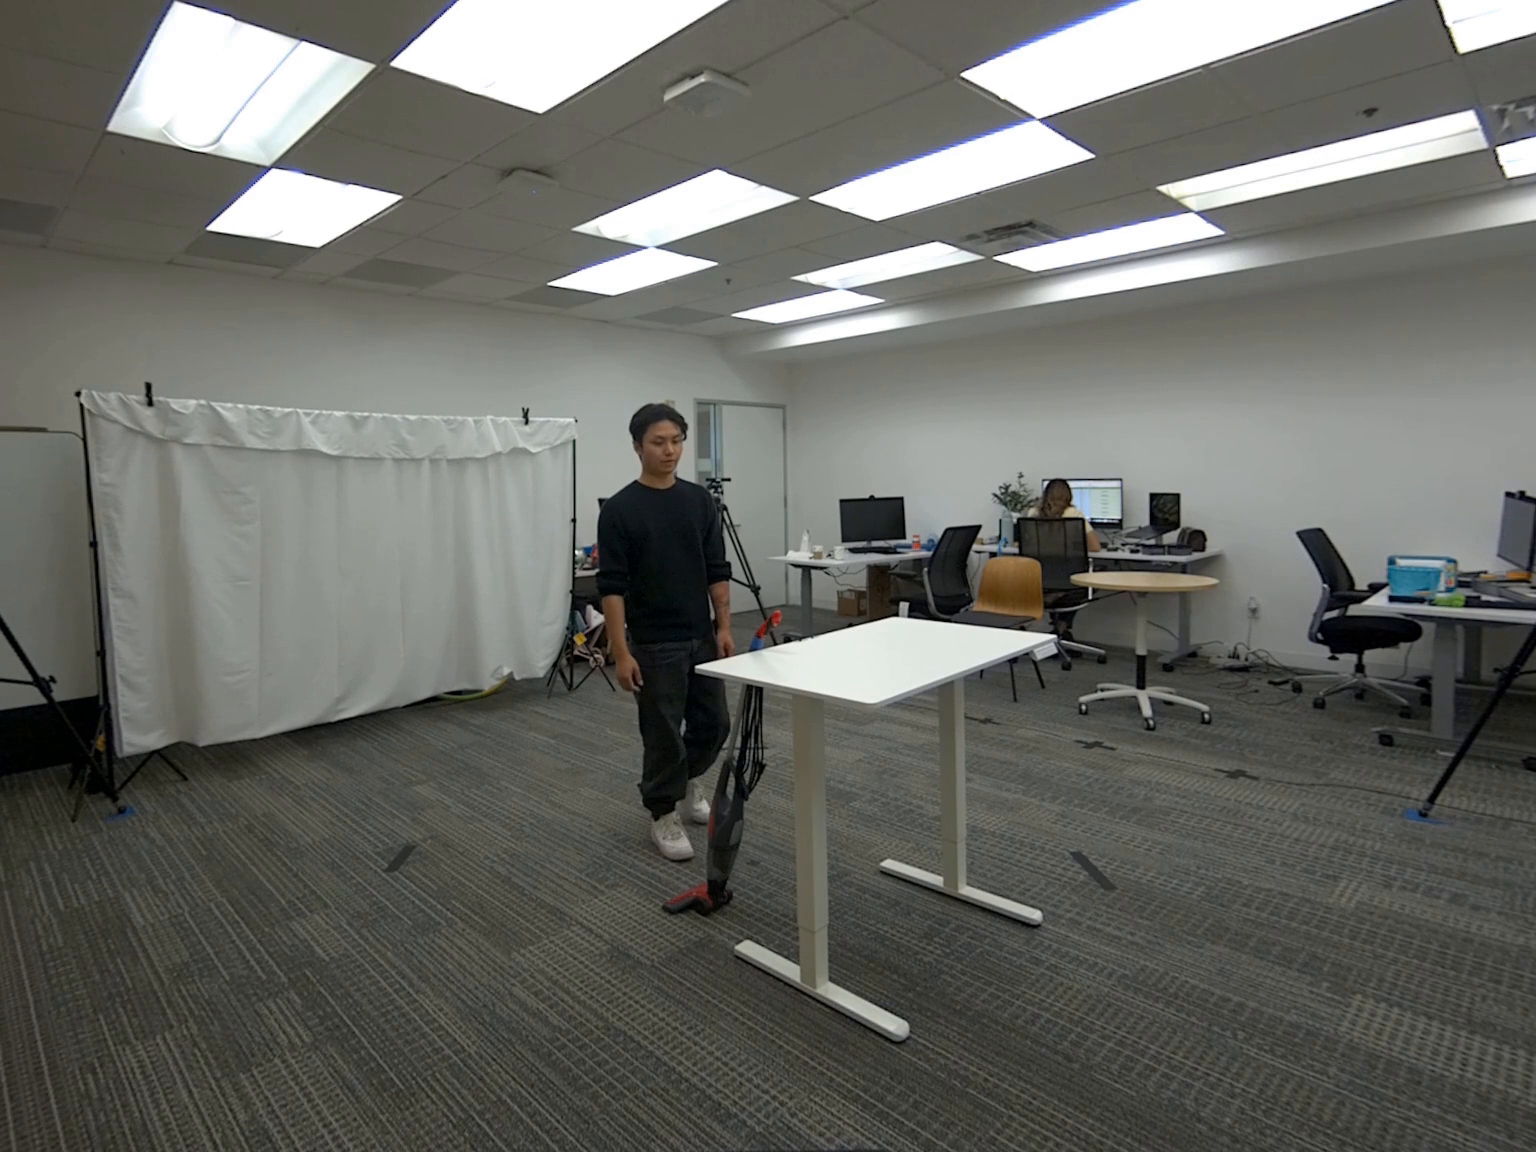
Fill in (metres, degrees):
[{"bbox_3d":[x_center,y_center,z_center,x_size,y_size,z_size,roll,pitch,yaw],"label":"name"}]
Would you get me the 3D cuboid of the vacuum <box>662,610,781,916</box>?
[{"bbox_3d":[-0.088,0.596,2.668,0.149,1.037,0.246,25,21,34],"label":"vacuum"}]
